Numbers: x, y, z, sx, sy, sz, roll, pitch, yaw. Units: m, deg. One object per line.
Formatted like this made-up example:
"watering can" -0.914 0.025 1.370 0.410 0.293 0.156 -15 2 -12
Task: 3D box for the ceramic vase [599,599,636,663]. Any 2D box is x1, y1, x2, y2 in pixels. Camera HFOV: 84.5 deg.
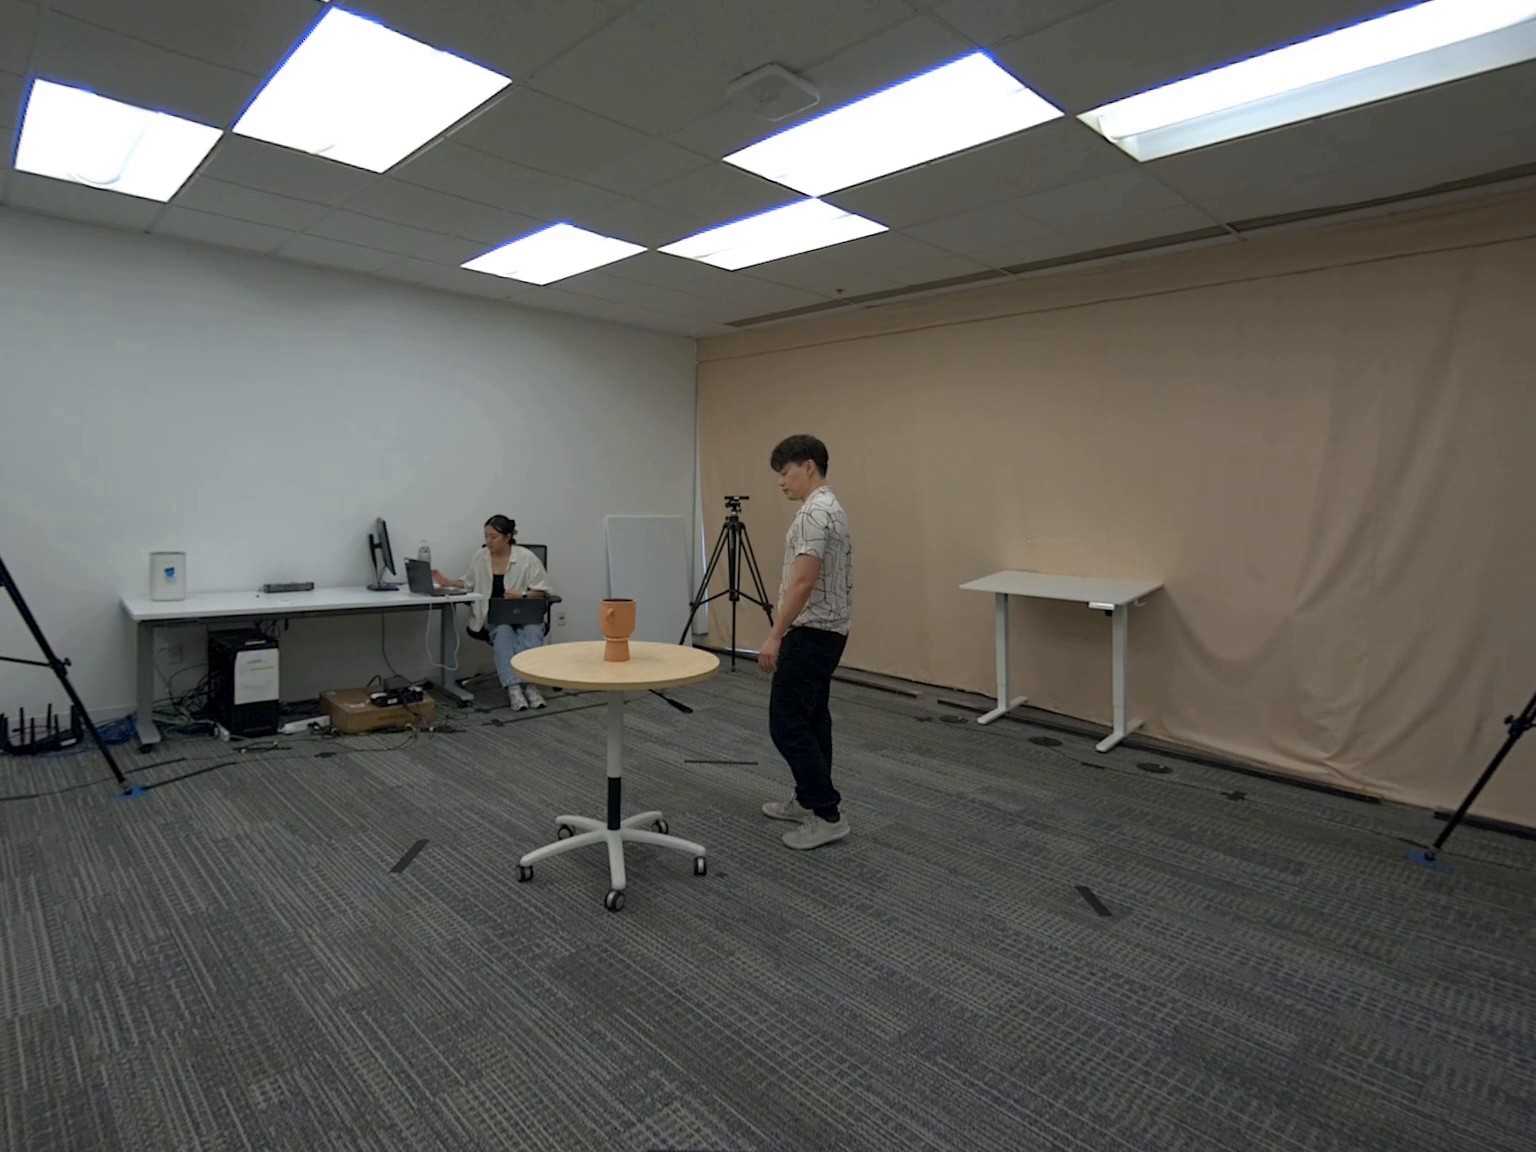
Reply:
"ceramic vase" -0.570 0.202 3.121 0.155 0.219 0.138 -2 5 -38
